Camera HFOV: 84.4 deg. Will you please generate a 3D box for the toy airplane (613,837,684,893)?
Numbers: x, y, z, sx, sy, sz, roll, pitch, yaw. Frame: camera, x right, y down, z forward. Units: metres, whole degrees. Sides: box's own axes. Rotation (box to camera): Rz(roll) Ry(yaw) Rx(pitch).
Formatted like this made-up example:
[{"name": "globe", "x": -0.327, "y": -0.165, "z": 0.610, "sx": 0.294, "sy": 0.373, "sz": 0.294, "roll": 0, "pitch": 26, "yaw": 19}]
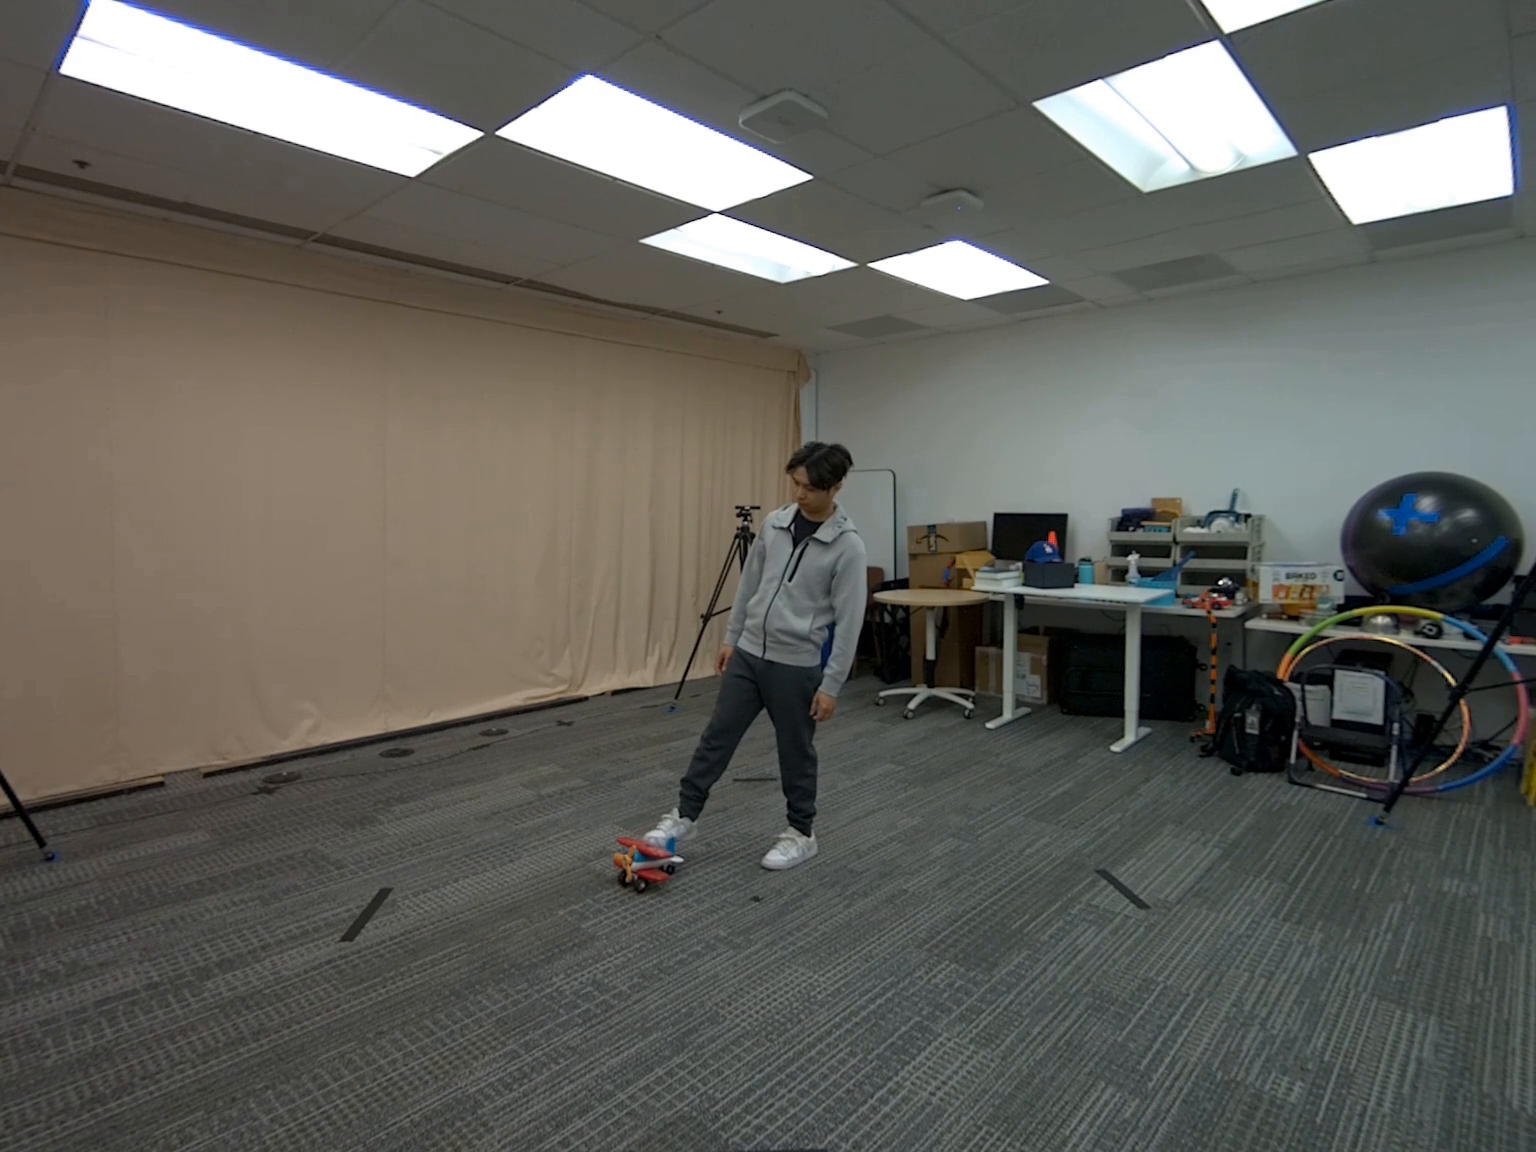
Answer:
[{"name": "toy airplane", "x": -0.455, "y": 1.059, "z": 3.138, "sx": 0.254, "sy": 0.156, "sz": 0.257, "roll": 0, "pitch": 7, "yaw": 12}]
